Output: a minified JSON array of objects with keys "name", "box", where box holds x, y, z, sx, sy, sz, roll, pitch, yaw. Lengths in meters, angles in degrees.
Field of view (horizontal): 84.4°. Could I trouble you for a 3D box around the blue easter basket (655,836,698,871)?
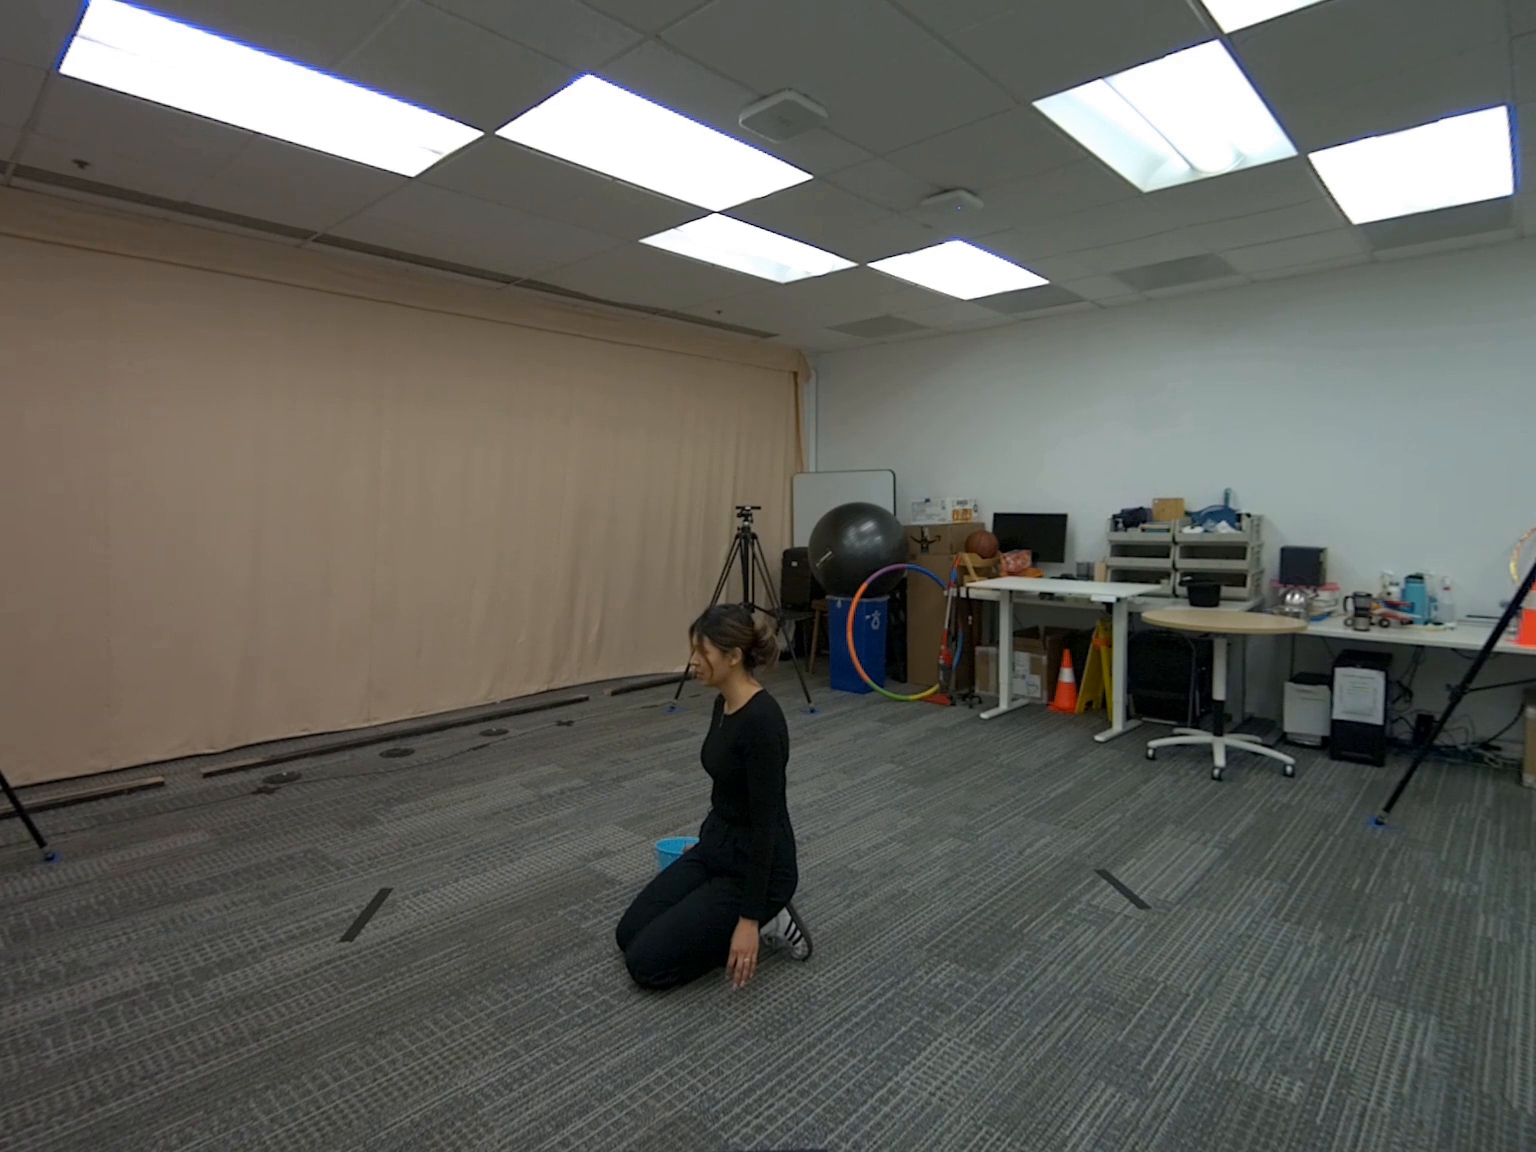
[{"name":"blue easter basket","box":[-0.292,1.054,3.046,0.243,0.156,0.243,1,-3,-2]}]
